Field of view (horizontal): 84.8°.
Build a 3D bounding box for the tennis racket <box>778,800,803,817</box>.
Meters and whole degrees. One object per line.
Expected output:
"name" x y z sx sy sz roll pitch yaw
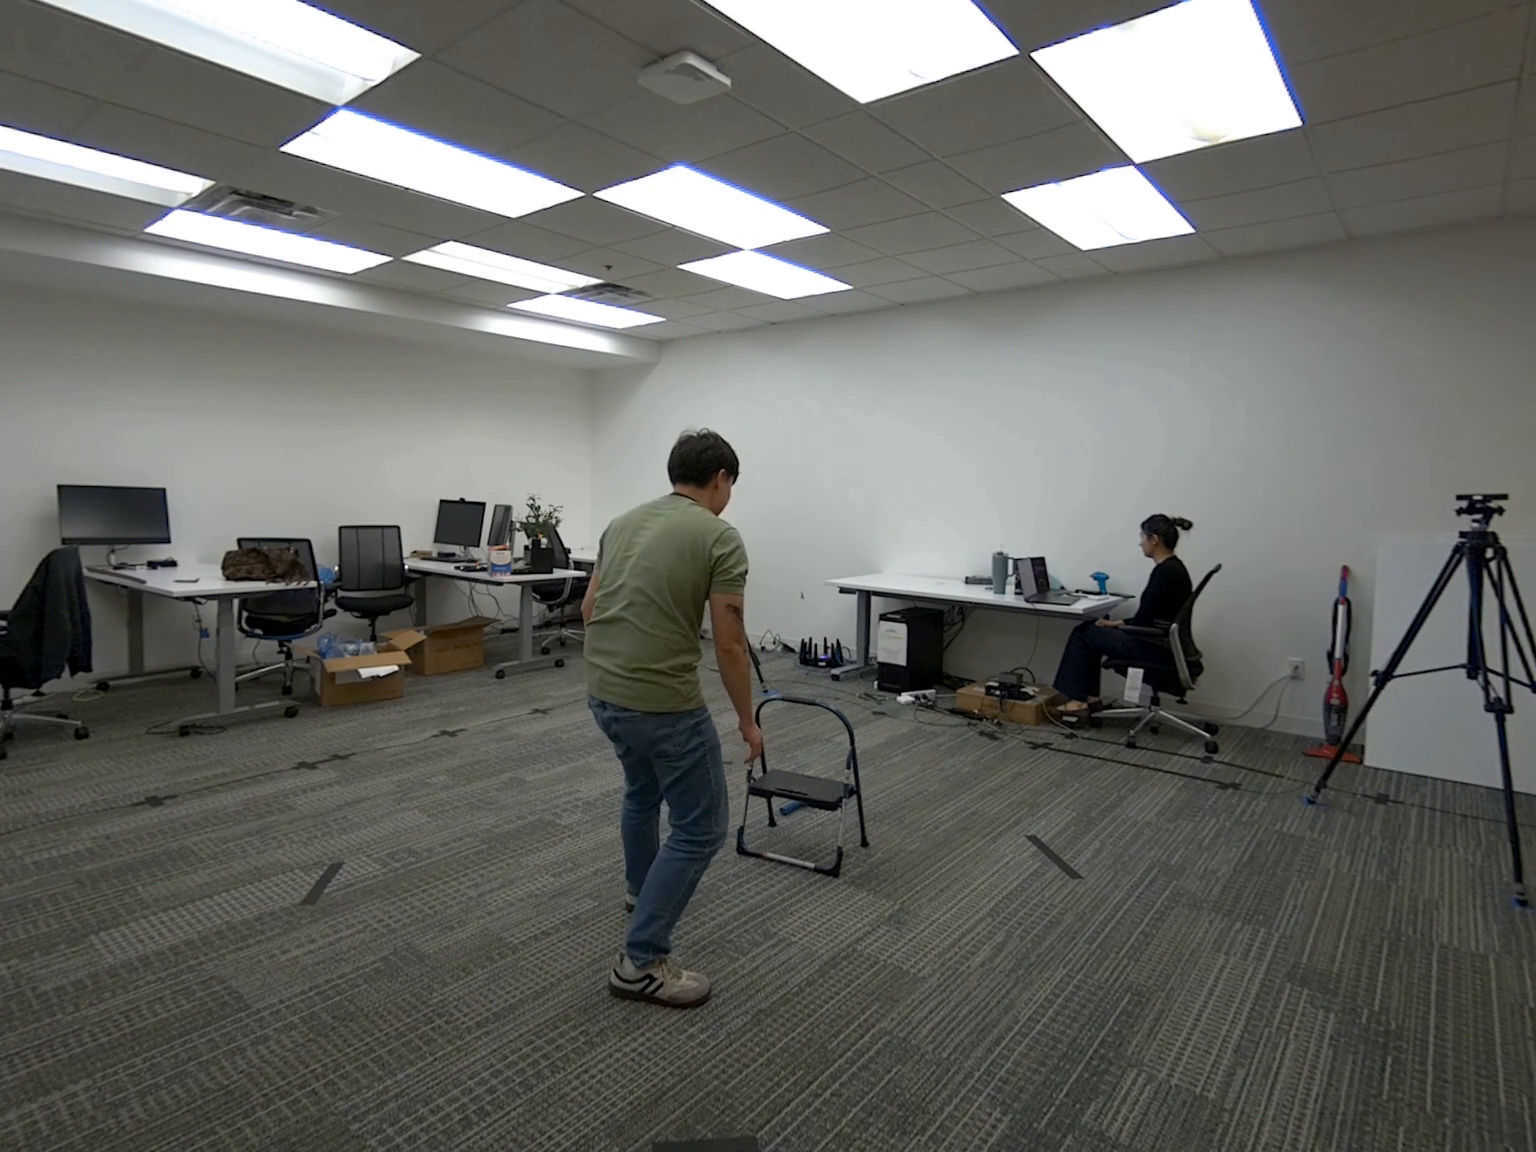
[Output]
"tennis racket" 0.180 0.976 3.787 0.220 0.032 0.420 1 4 39
